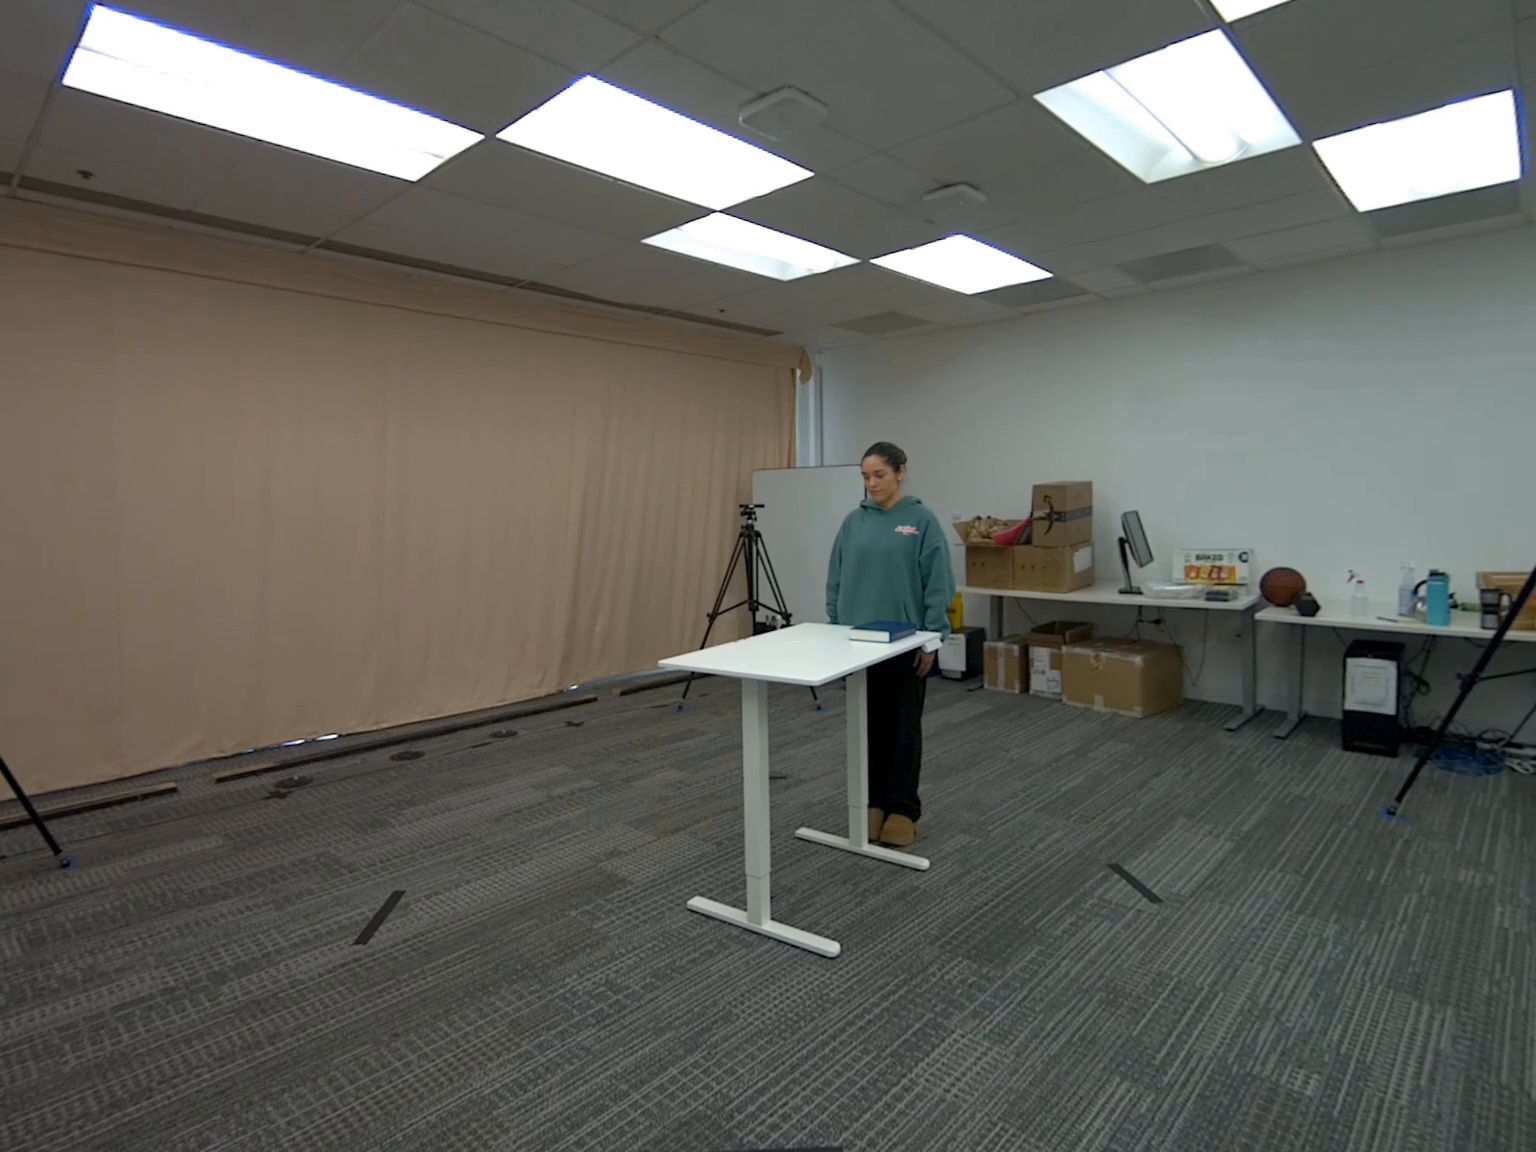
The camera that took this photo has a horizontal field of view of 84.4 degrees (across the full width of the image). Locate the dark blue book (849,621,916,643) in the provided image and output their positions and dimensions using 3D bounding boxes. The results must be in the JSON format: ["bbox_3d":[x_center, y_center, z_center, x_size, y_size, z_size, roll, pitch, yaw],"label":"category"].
[{"bbox_3d":[0.433,0.209,3.167,0.168,0.045,0.238,2,6,33],"label":"dark blue book"}]
